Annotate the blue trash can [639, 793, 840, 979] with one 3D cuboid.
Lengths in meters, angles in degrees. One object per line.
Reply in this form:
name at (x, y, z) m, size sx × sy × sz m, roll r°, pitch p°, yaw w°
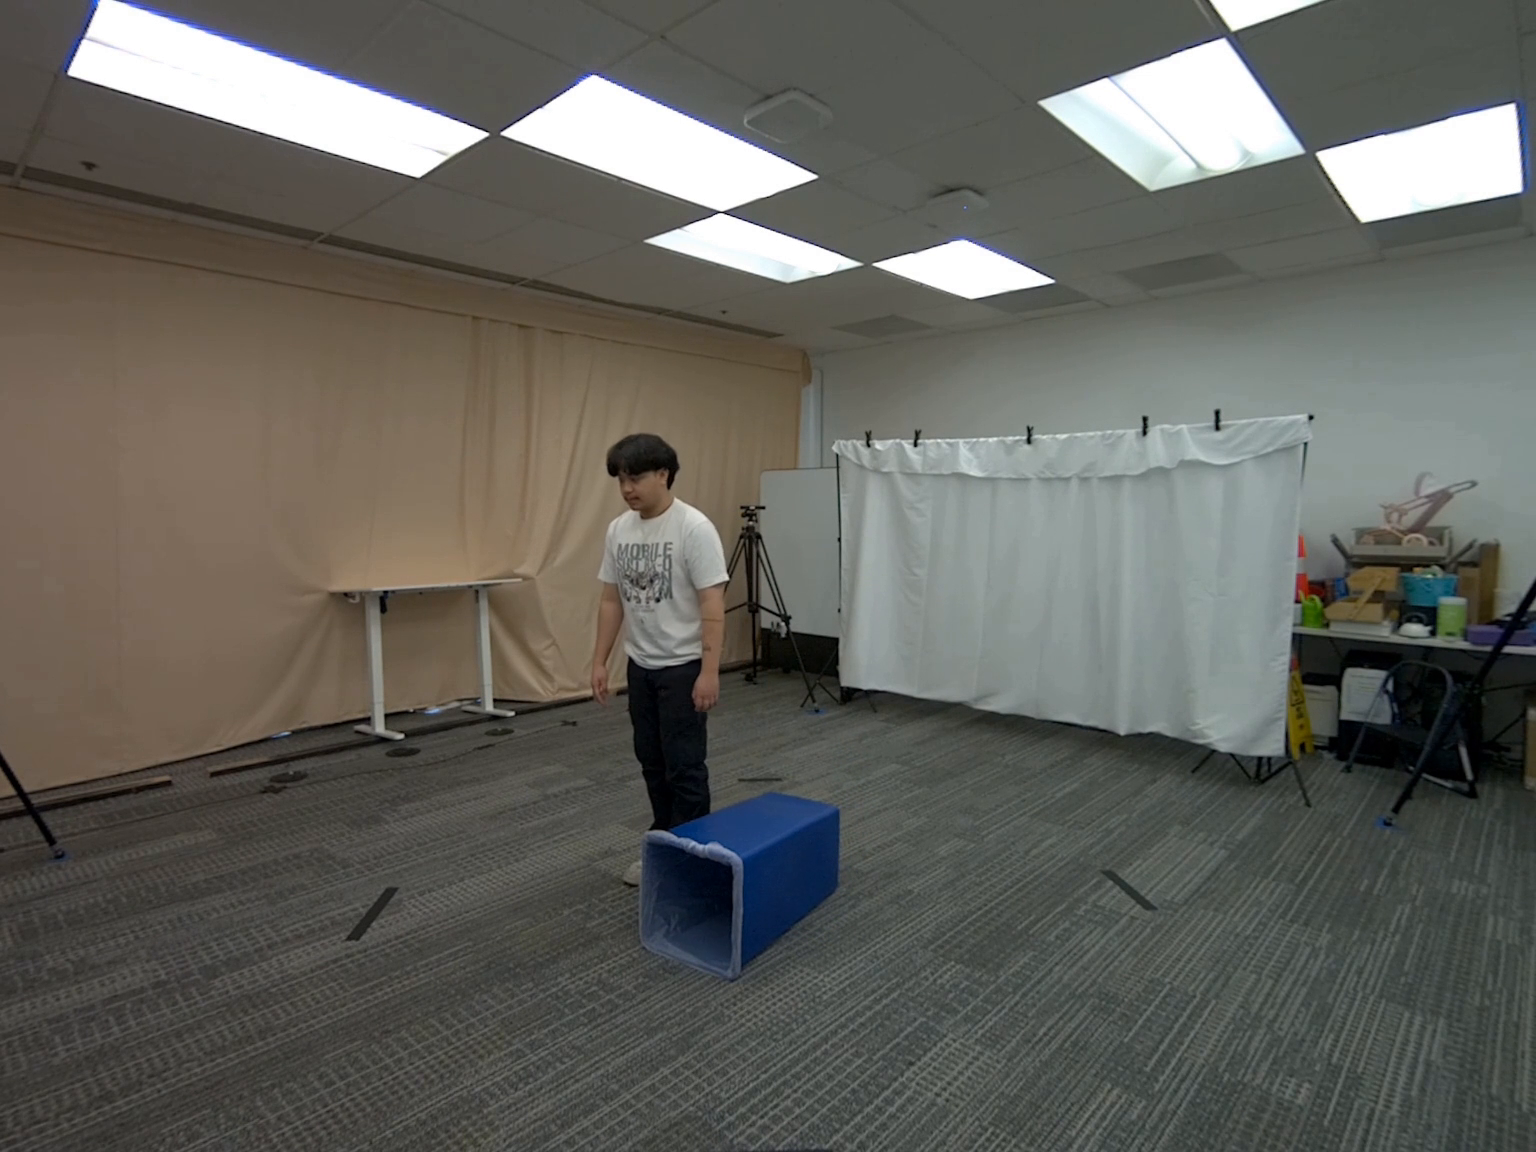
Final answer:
blue trash can at (-0.048, 0.992, 2.836) m, size 0.389 × 0.374 × 0.692 m, roll 1°, pitch 1°, yaw 34°
